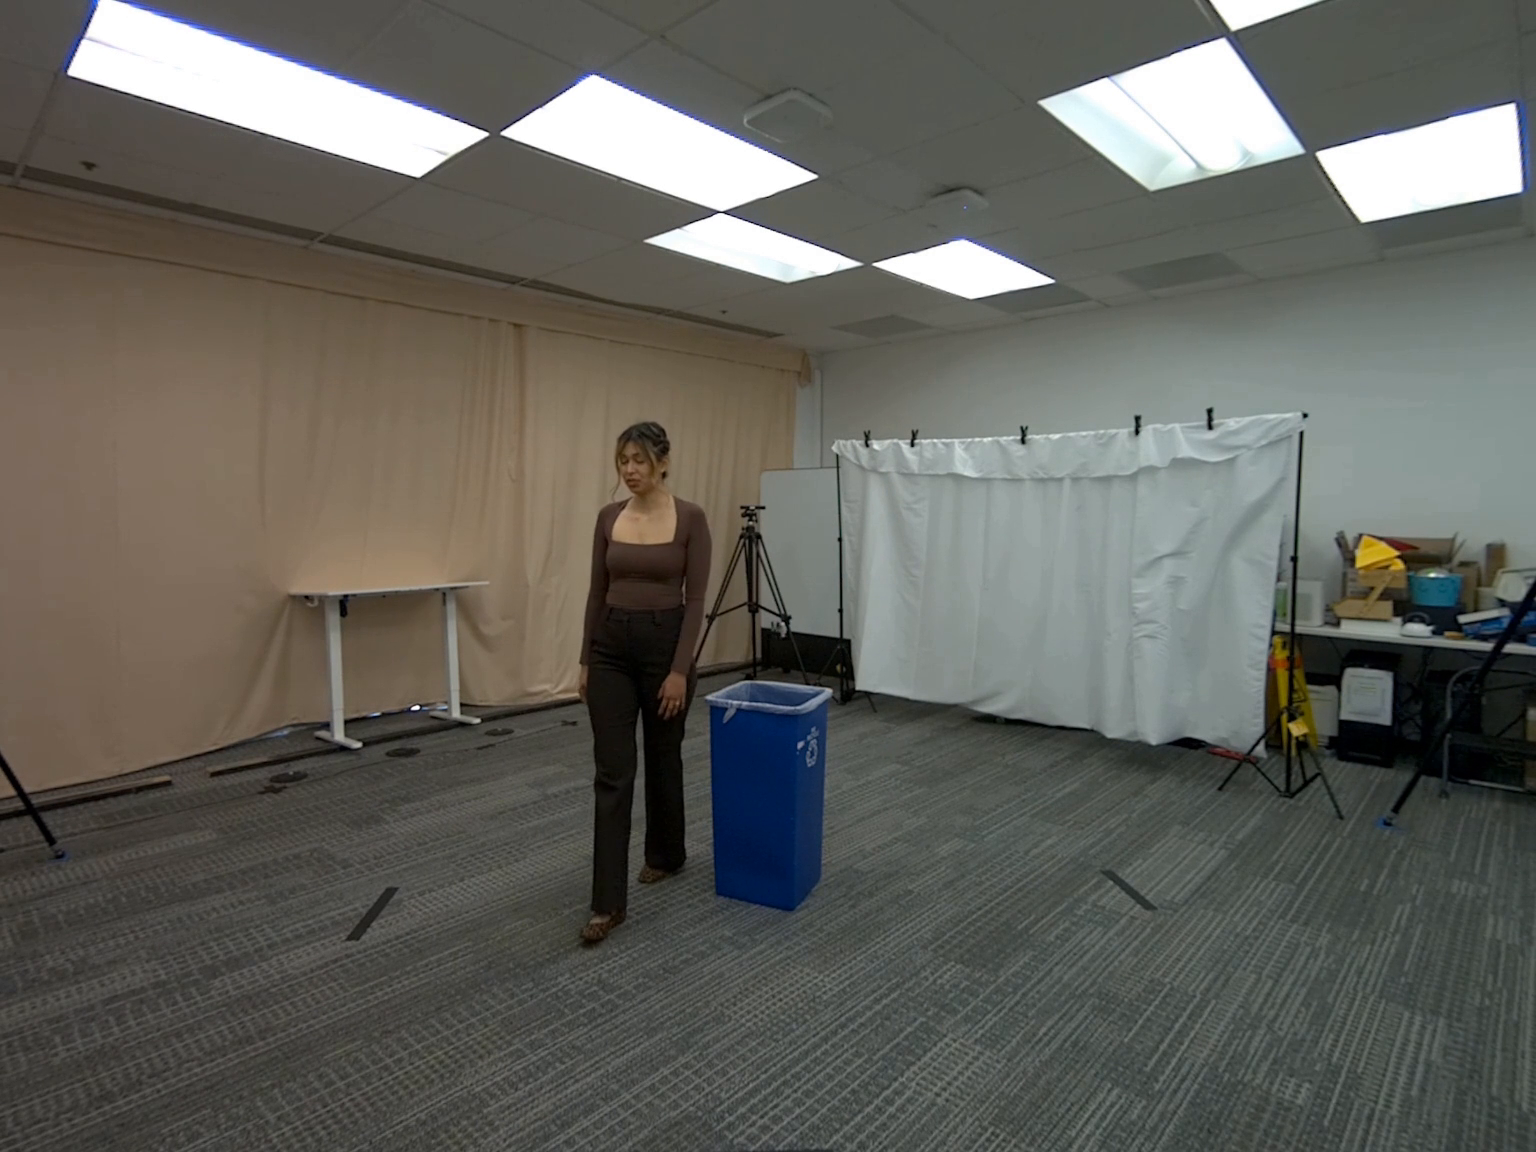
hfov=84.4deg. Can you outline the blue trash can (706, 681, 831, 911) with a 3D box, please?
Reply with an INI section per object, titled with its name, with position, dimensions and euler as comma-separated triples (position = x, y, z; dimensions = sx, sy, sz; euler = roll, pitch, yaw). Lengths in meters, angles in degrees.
[blue trash can]
position = 0.007, 0.776, 3.070
dimensions = 0.388, 0.712, 0.365
euler = 2, 4, 25
